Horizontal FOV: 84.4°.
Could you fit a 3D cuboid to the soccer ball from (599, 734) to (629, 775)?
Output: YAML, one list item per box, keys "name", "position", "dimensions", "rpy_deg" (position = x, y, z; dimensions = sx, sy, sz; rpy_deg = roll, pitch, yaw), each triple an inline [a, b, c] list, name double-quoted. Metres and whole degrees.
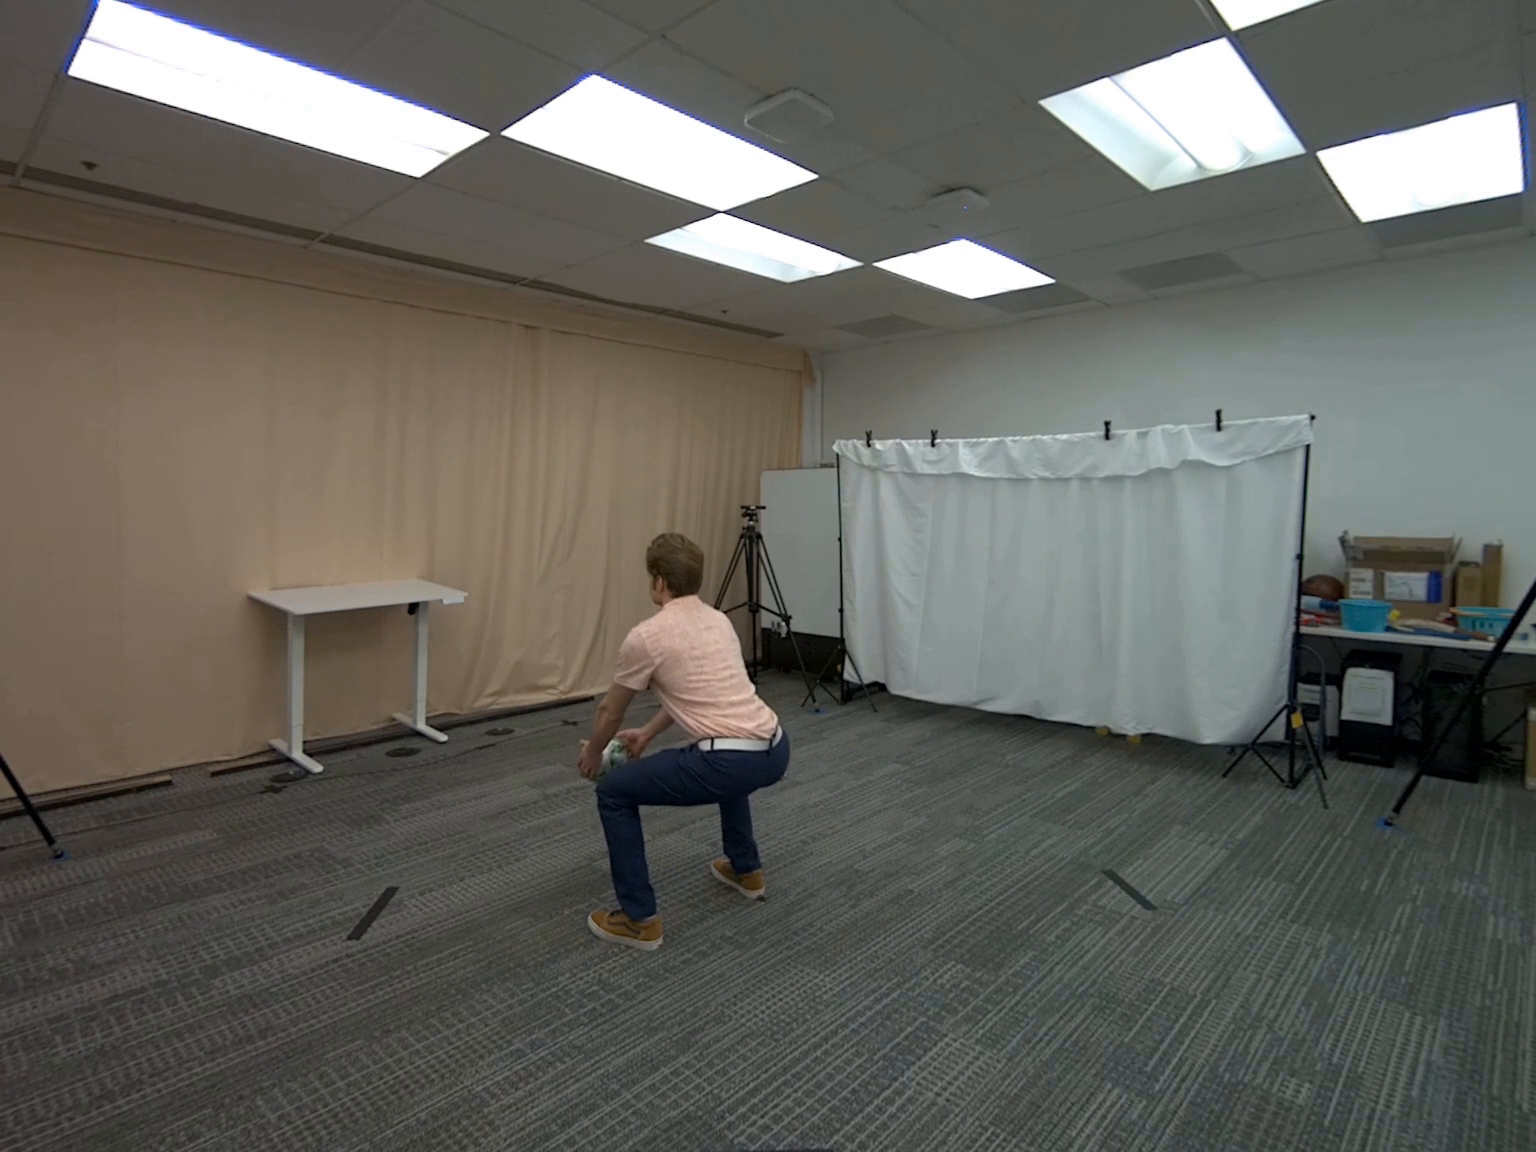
- name: "soccer ball"
  position: [-0.623, 0.701, 3.218]
  dimensions: [0.187, 0.187, 0.188]
  rpy_deg: [0, 4, -2]
